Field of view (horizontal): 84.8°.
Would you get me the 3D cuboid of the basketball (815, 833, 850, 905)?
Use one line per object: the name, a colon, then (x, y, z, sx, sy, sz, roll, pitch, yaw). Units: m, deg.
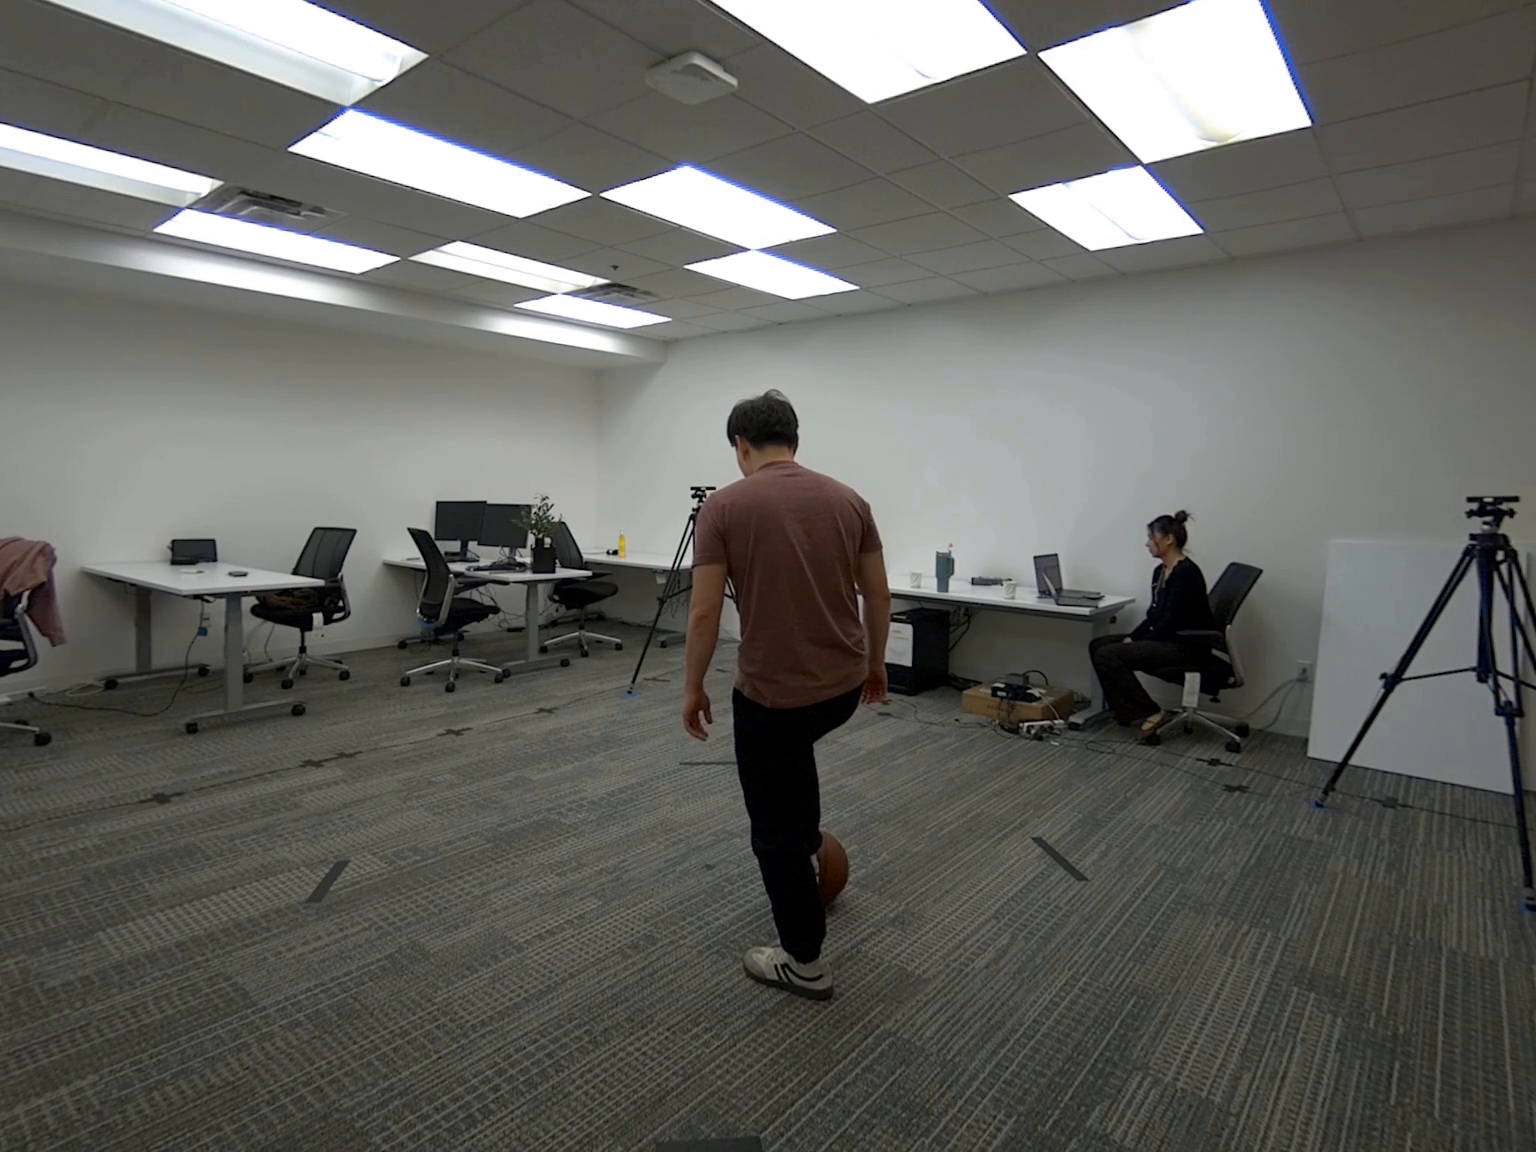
basketball: (0.159, 0.975, 2.873, 0.235, 0.235, 0.237, 1, 4, -2)
